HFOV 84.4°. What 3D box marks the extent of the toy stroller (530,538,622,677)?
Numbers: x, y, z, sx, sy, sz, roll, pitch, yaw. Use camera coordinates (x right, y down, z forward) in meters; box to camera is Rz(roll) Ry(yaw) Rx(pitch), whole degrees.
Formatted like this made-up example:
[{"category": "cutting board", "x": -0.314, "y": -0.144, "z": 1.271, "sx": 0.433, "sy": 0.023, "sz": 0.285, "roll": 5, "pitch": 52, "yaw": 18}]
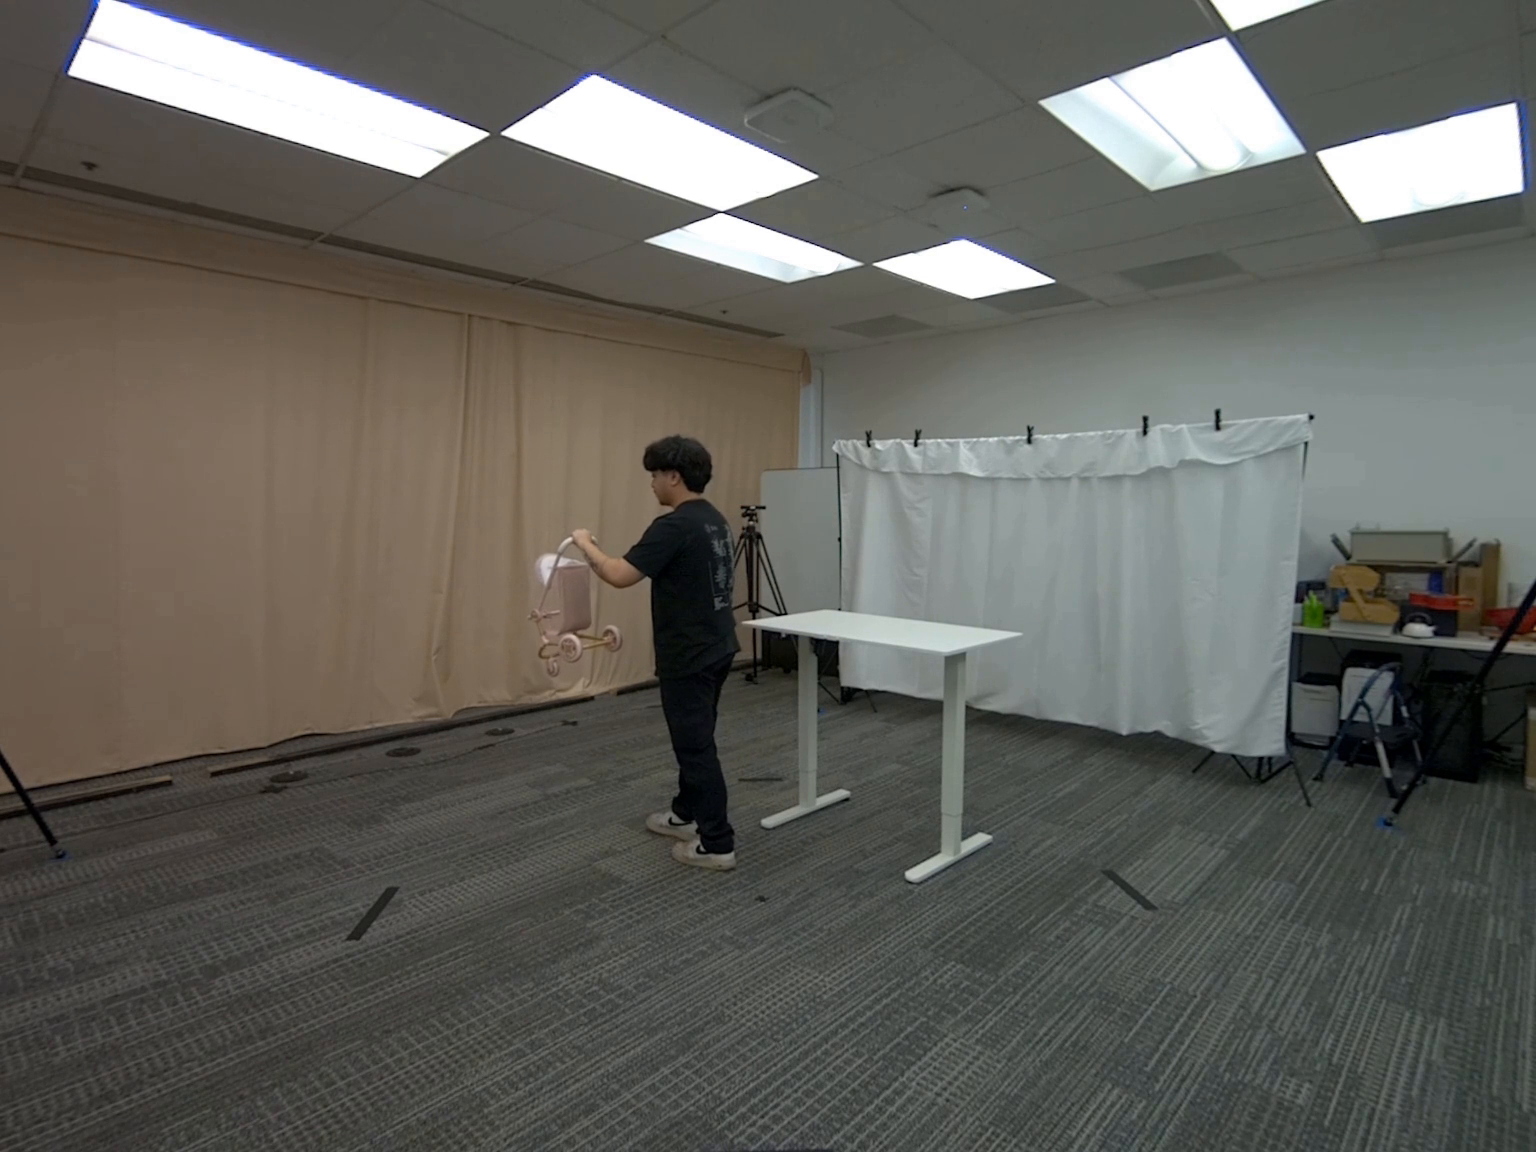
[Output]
[{"category": "toy stroller", "x": -0.820, "y": 0.137, "z": 3.436, "sx": 0.350, "sy": 0.536, "sz": 0.273, "roll": -13, "pitch": -4, "yaw": 36}]
